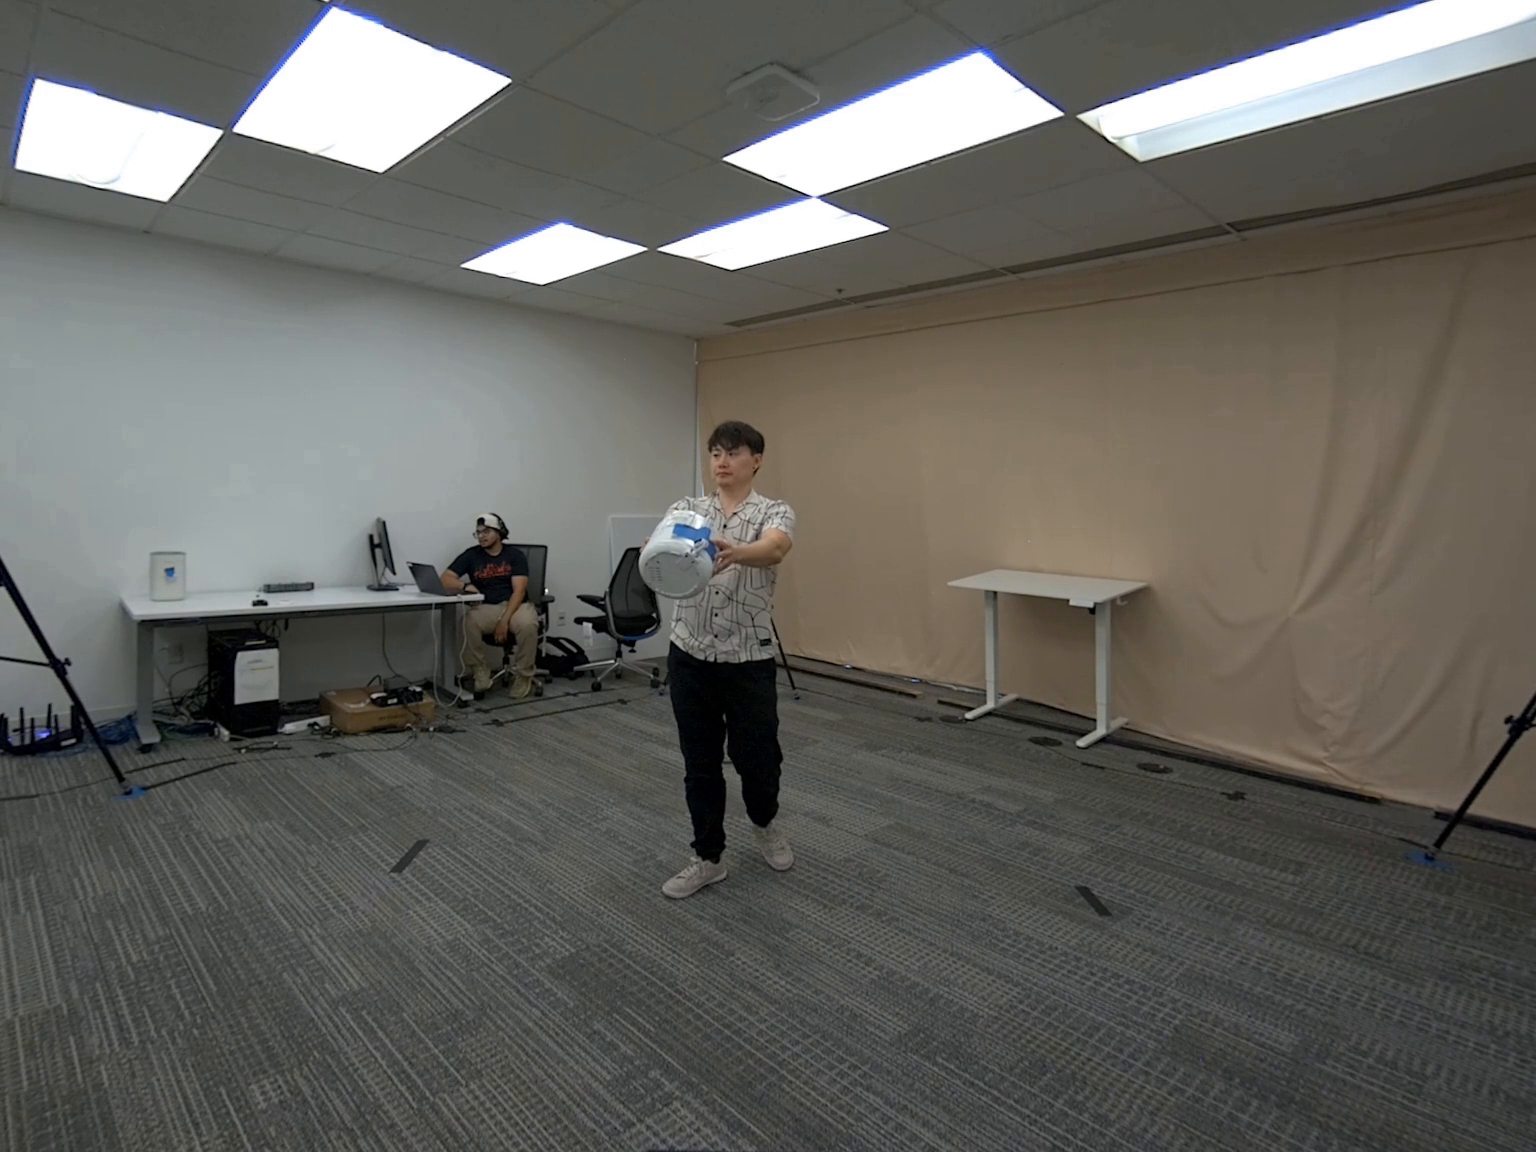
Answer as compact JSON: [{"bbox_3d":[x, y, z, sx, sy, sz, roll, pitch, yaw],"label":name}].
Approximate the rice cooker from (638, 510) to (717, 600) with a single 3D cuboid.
[{"bbox_3d":[-0.259,-0.066,2.488,0.220,0.216,0.235,3,34,13],"label":"rice cooker"}]
